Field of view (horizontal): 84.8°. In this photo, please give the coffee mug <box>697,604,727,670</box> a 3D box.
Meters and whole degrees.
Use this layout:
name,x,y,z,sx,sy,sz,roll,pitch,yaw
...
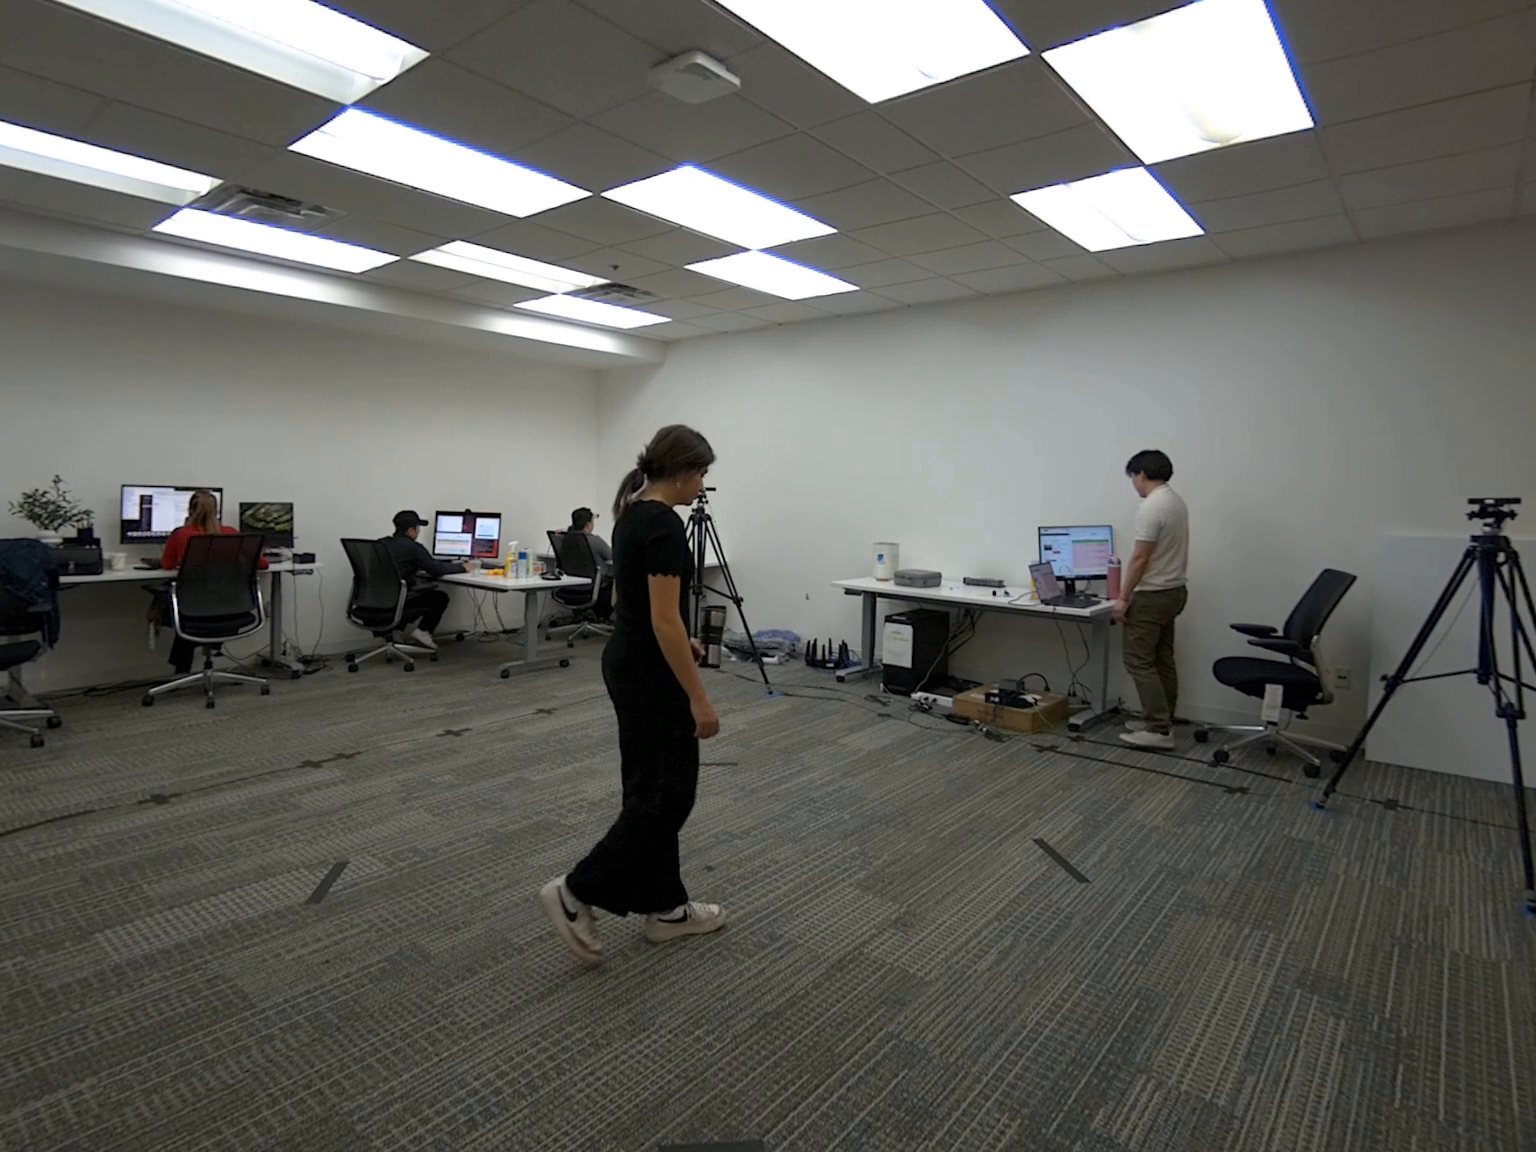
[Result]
name,x,y,z,sx,sy,sz,roll,pitch,yaw
coffee mug,-0.190,0.204,2.766,0.089,0.204,0.119,-2,-6,15
